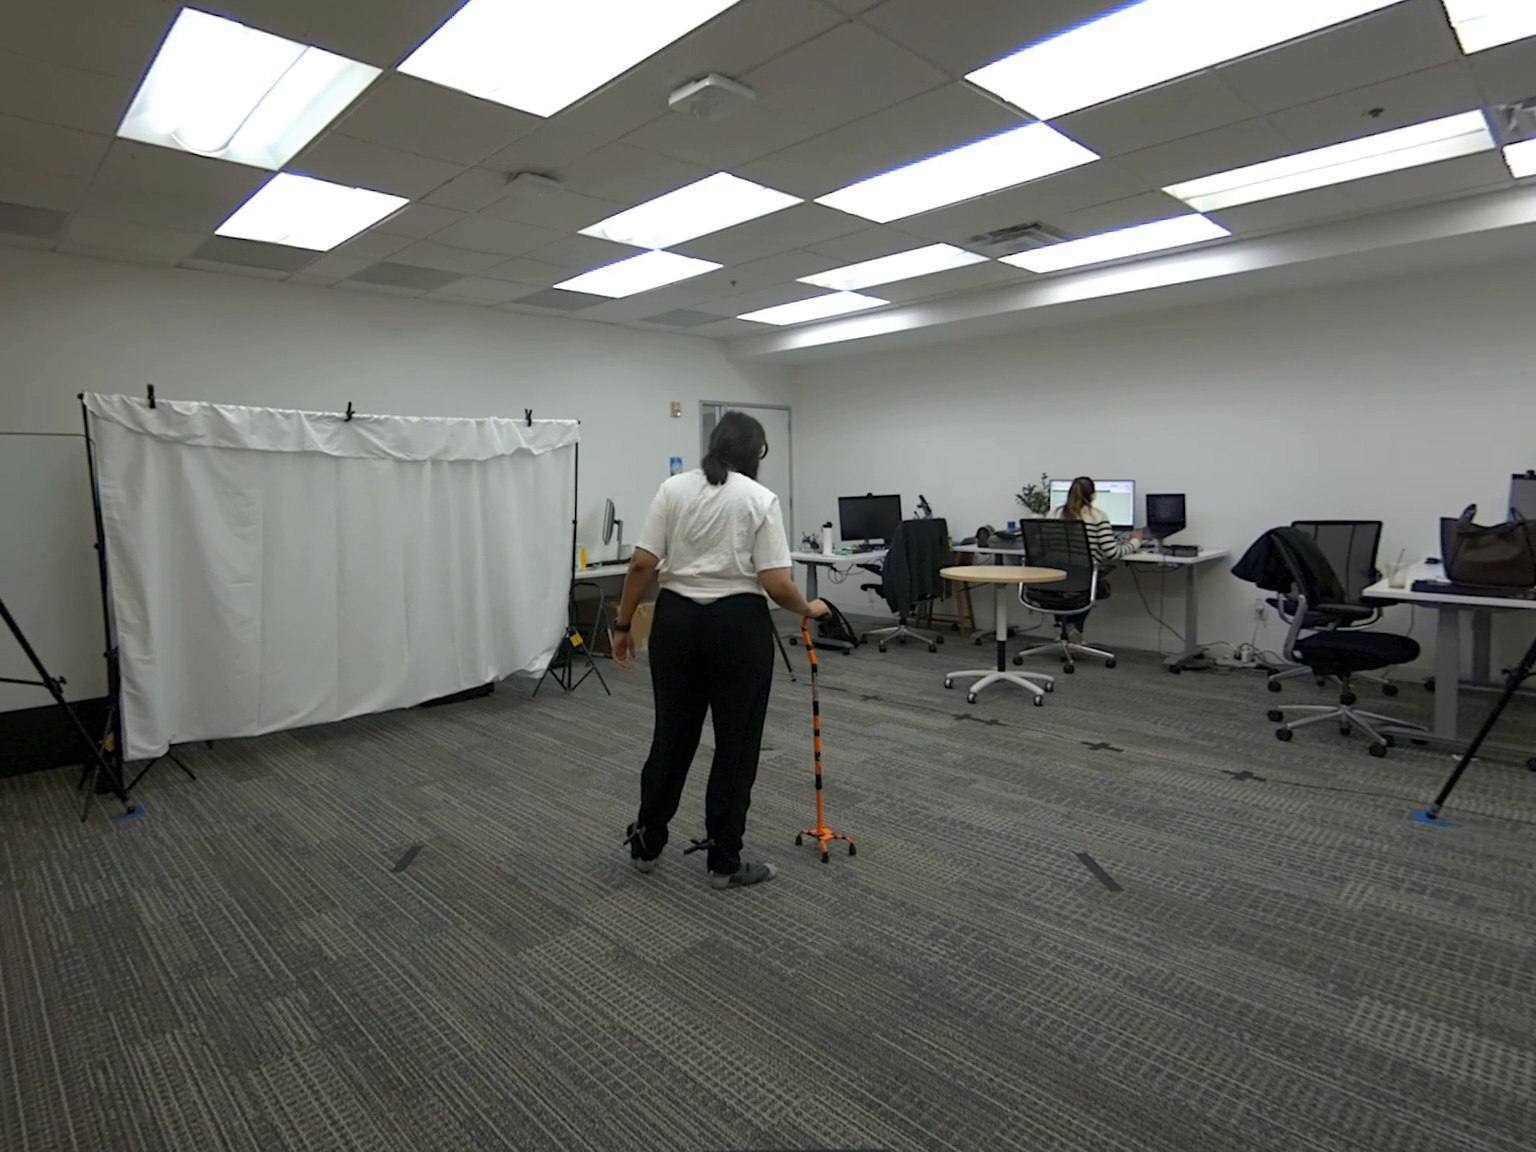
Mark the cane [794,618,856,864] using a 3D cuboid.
[{"bbox_3d":[0.194,0.574,3.190,0.148,0.905,0.212,-5,4,-31],"label":"cane"}]
